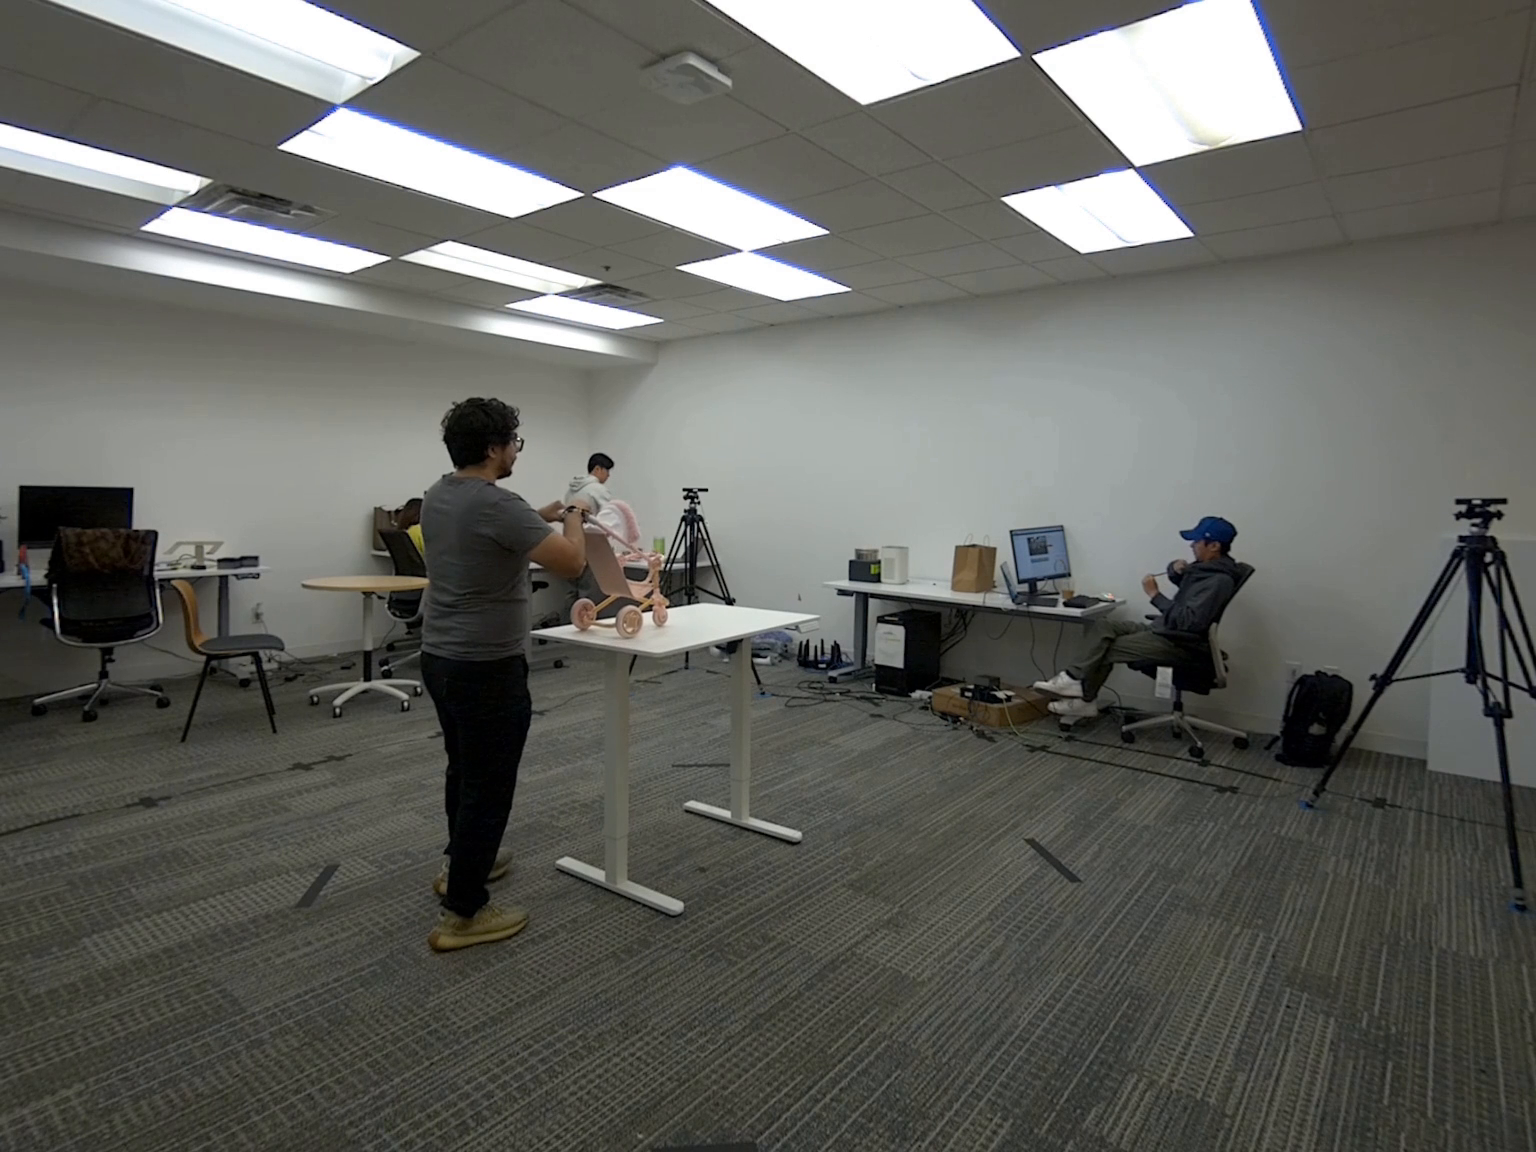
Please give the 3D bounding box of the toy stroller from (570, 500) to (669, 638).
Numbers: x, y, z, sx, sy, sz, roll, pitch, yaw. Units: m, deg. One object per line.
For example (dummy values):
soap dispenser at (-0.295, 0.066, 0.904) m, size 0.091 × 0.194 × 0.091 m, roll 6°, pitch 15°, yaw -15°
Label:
toy stroller at (-0.529, -0.030, 2.989) m, size 0.291 × 0.527 × 0.335 m, roll 4°, pitch 21°, yaw 45°
